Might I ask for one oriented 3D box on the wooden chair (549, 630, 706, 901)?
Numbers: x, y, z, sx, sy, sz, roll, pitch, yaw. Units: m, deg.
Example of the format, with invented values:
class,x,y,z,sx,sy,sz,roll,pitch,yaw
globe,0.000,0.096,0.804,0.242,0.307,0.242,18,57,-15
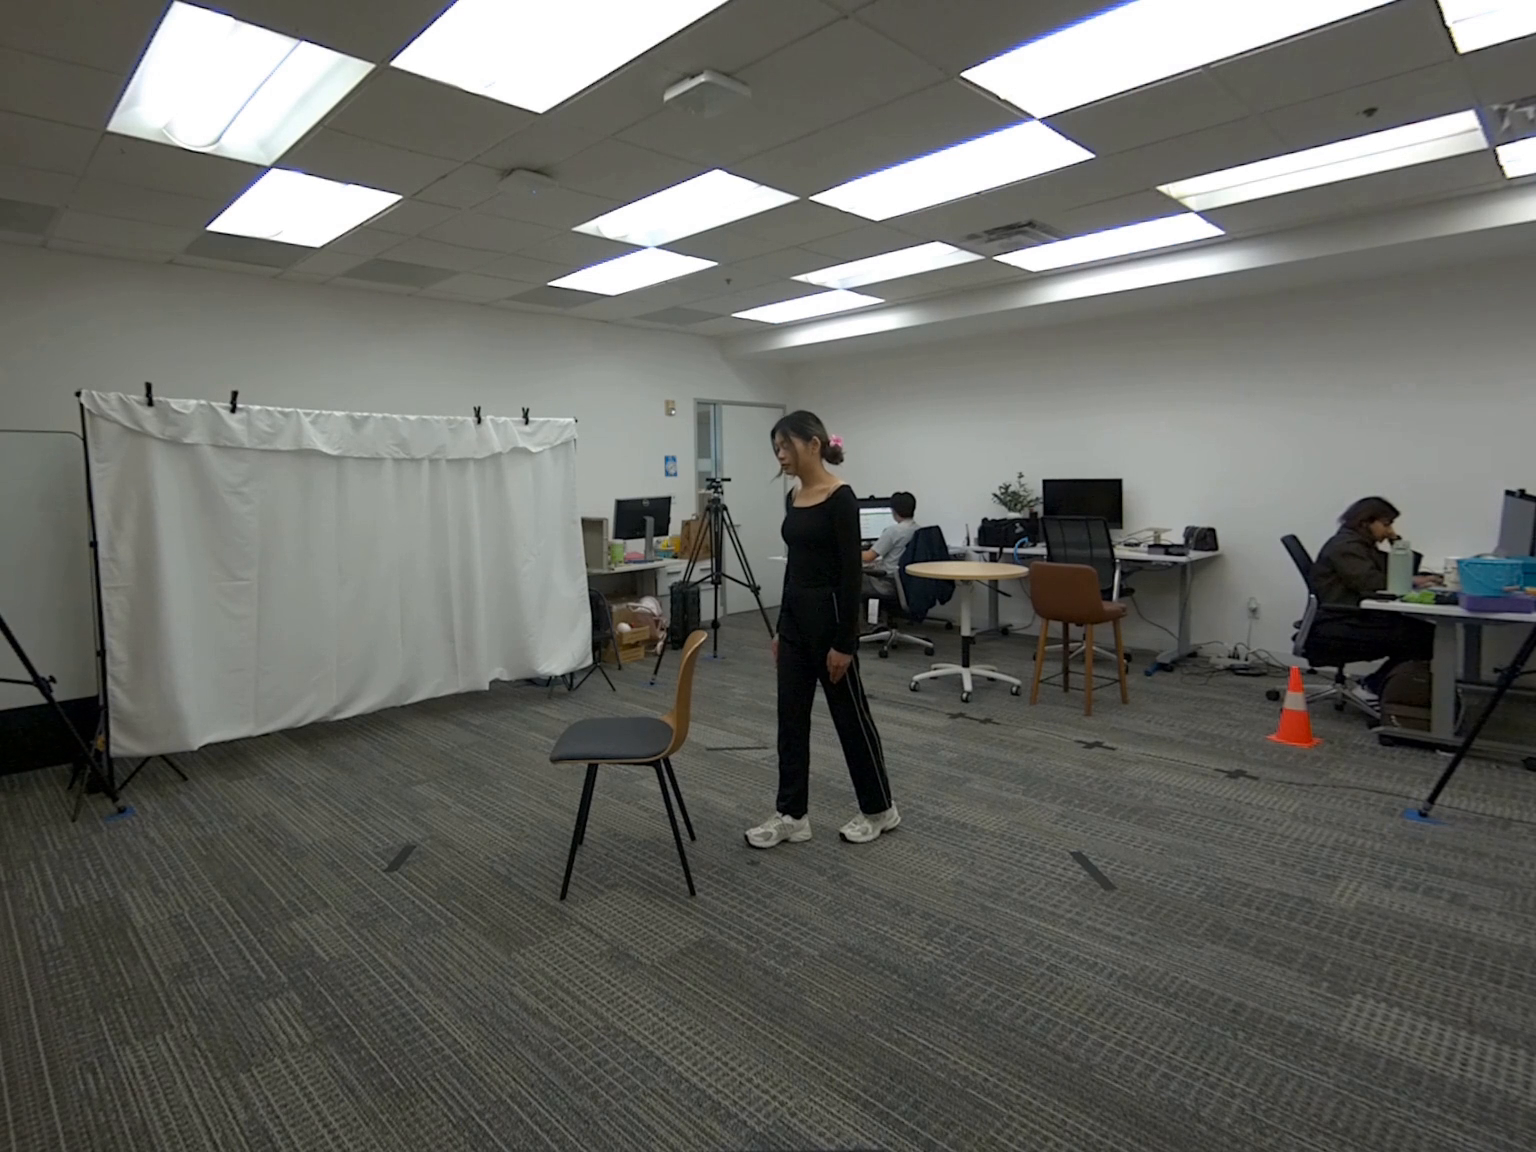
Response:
class,x,y,z,sx,sy,sz,roll,pitch,yaw
wooden chair,-0.498,0.630,3.041,0.521,0.874,0.482,3,5,-4
